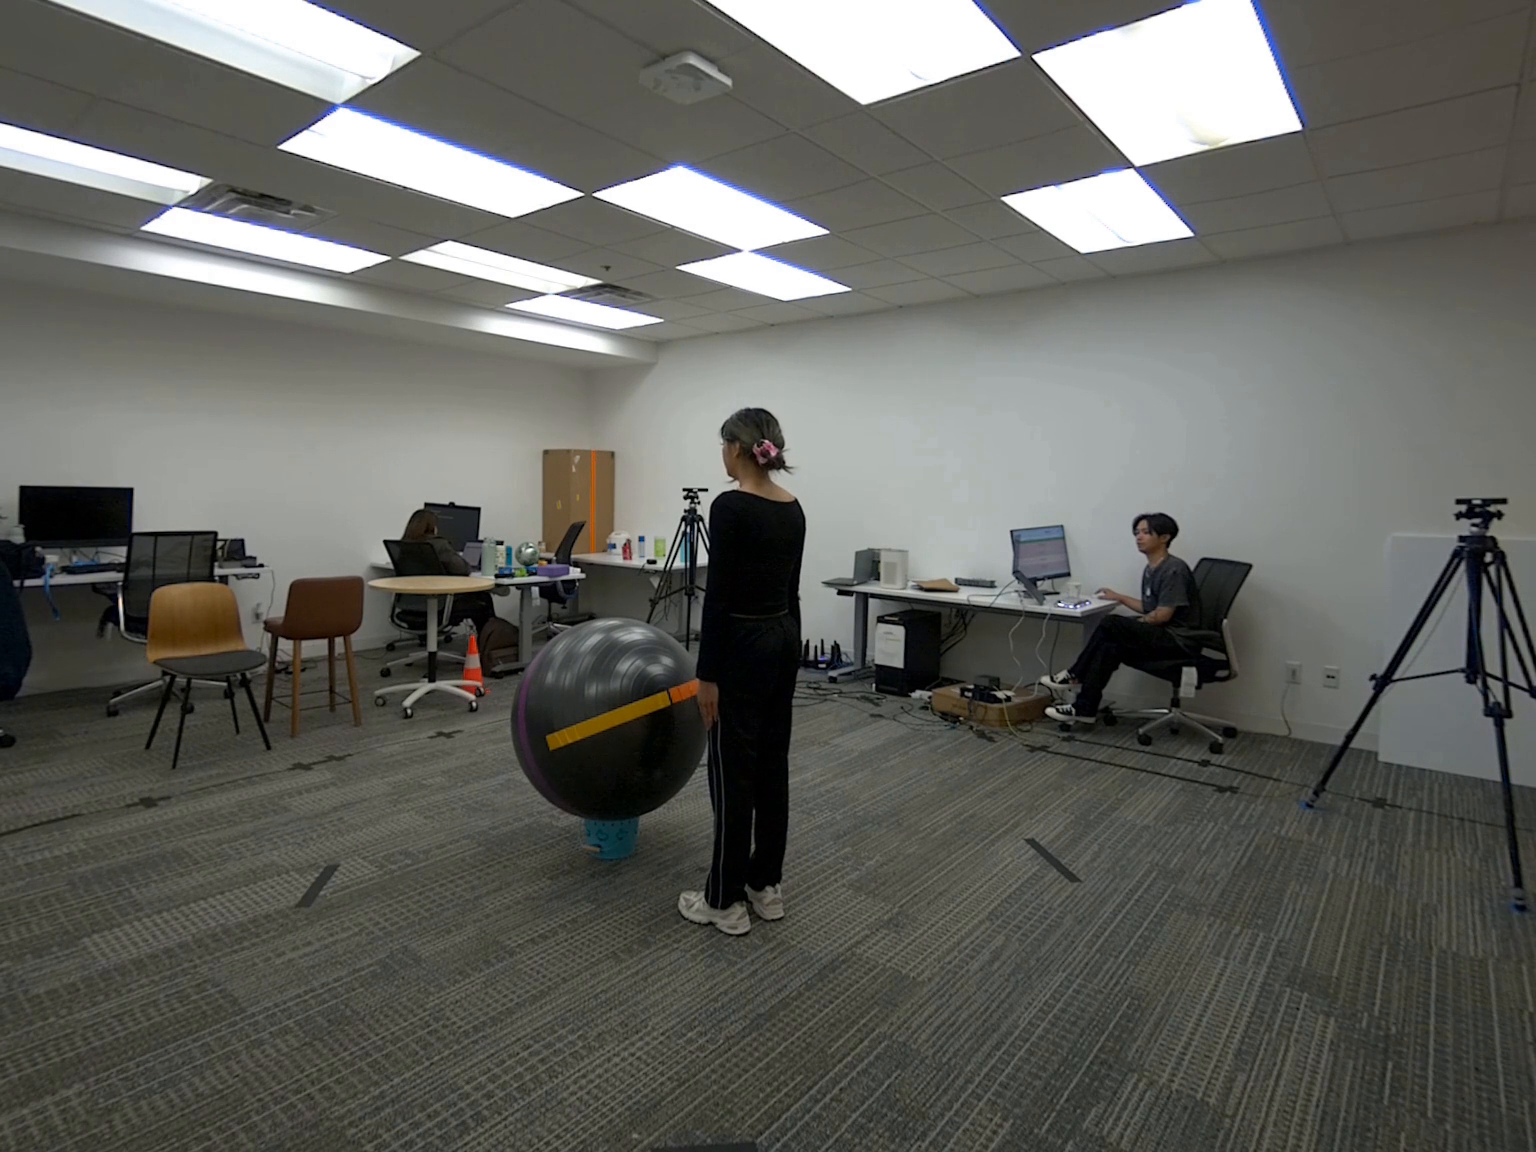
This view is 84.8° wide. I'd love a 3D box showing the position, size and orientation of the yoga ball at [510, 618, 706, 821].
[{"bbox_3d":[-0.609,0.543,3.252,0.757,0.755,0.762,1,4,-2],"label":"yoga ball"}]
